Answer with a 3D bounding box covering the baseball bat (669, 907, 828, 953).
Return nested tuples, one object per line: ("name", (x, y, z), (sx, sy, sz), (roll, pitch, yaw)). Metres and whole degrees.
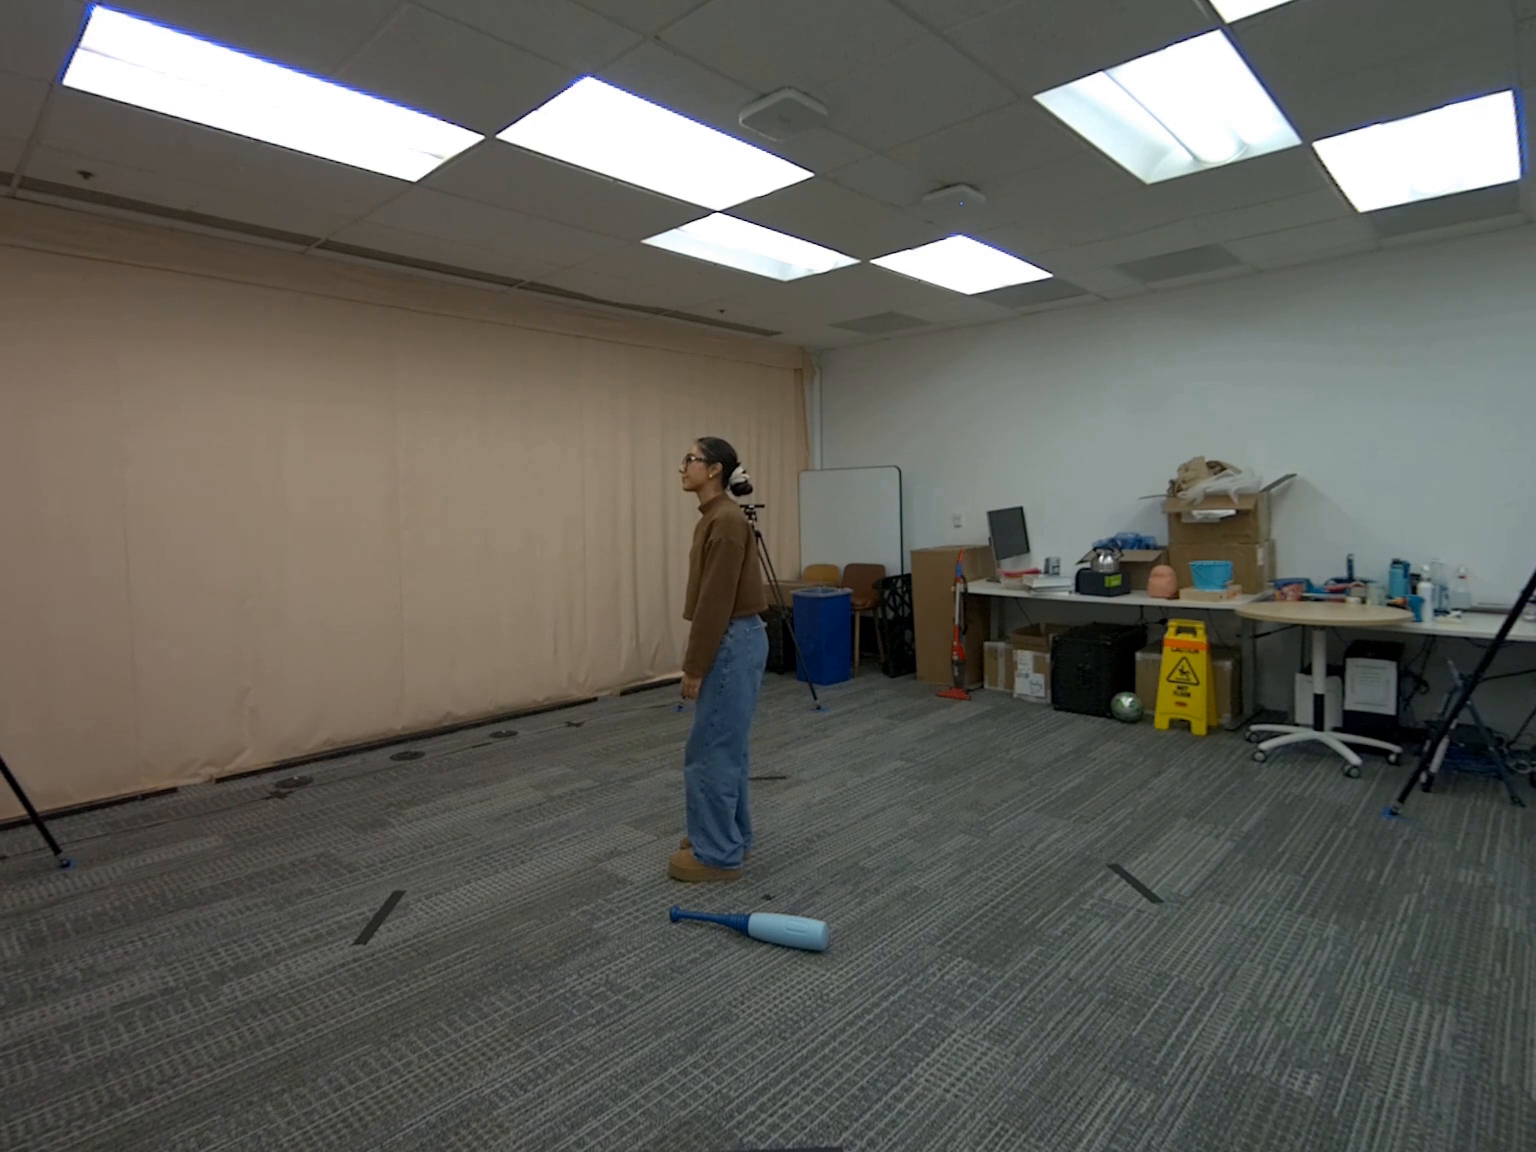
("baseball bat", (-0.068, 1.126, 2.719), (0.555, 0.089, 0.087), (-1, 3, 23))
